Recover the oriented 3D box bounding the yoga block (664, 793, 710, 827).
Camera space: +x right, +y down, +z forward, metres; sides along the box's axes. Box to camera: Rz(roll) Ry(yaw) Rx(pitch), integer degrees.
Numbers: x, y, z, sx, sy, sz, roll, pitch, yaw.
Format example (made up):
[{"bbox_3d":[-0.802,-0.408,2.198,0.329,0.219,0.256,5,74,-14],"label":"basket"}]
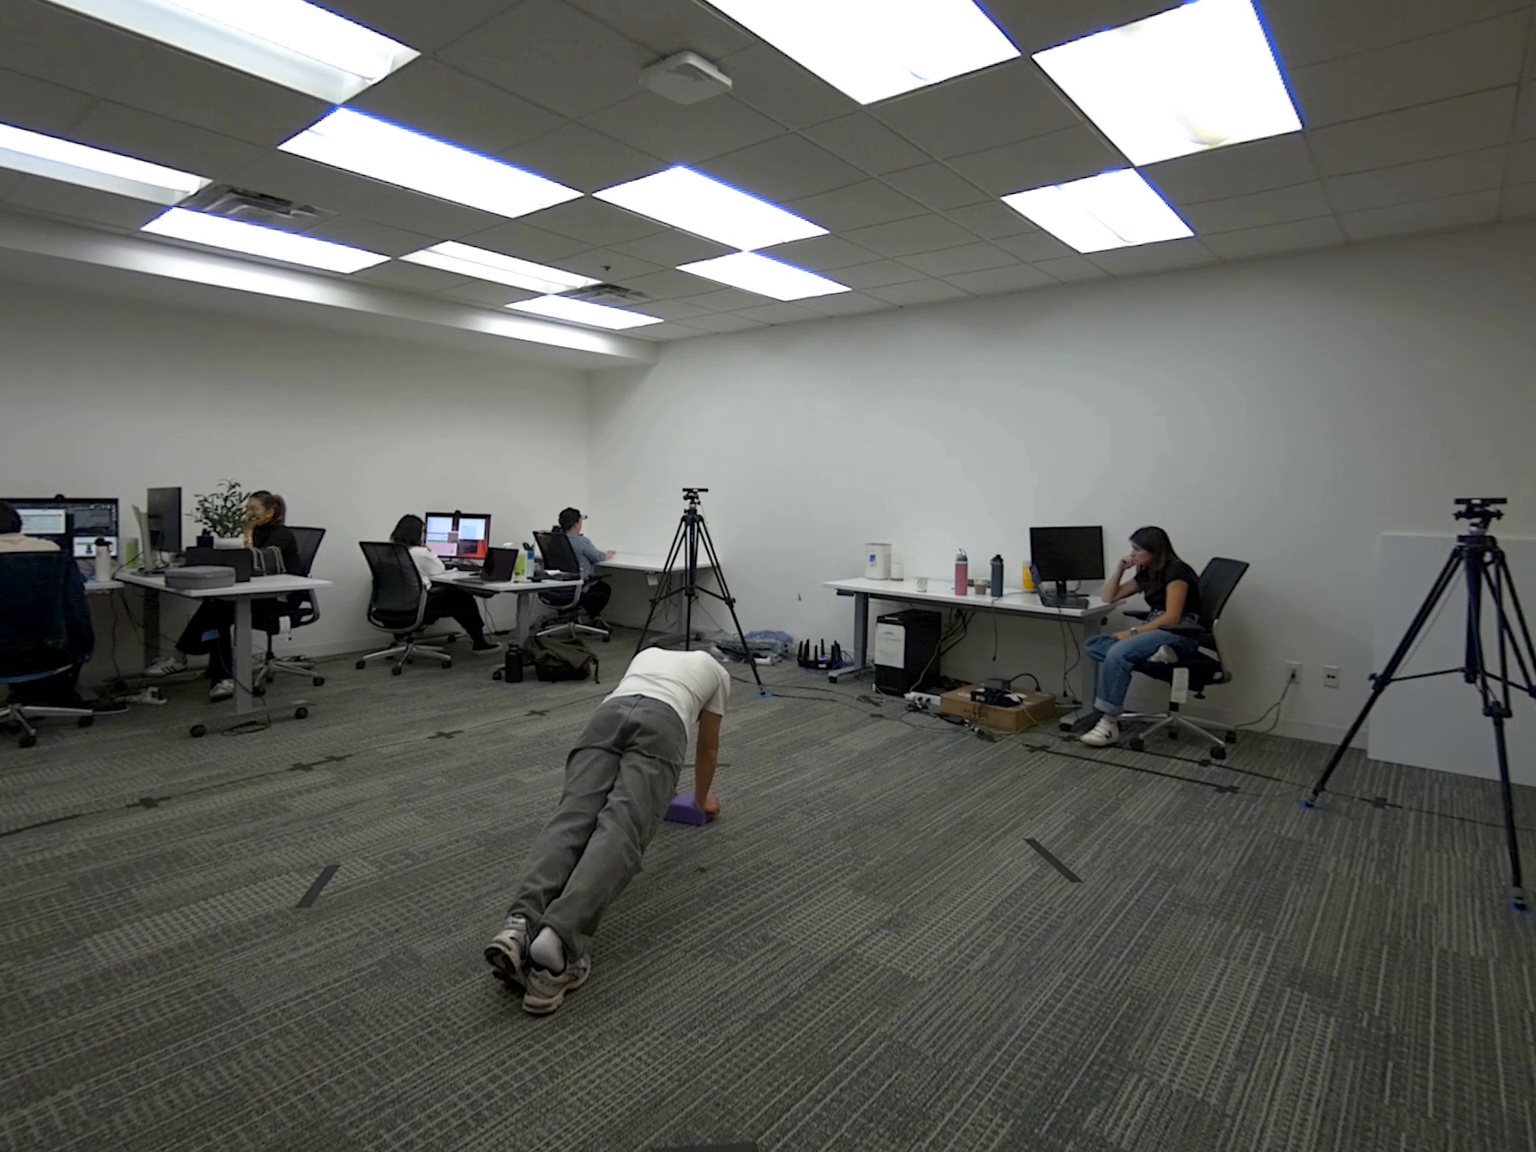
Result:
[{"bbox_3d":[-0.353,0.981,3.615,0.235,0.076,0.146,2,4,22],"label":"yoga block"}]
